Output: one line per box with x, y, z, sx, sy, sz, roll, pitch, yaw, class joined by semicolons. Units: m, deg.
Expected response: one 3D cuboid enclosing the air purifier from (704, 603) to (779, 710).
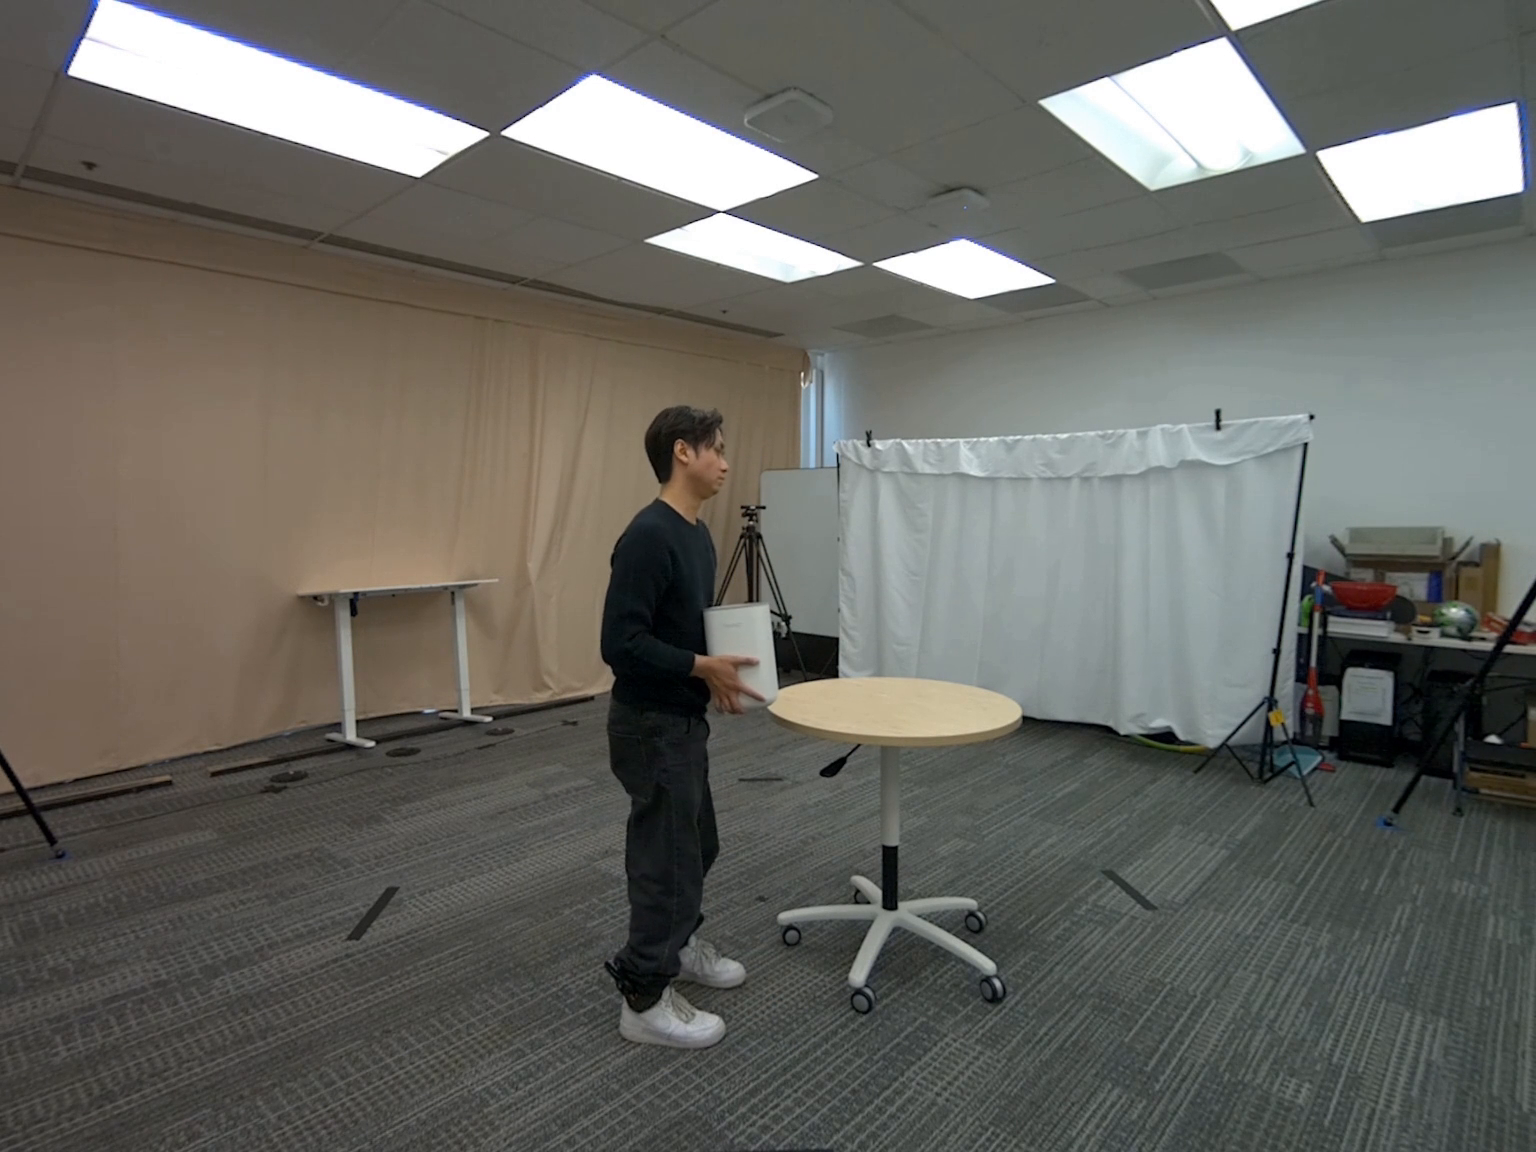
-0.068;0.213;2.202;0.172;0.265;0.170;-7;-1;5;air purifier
